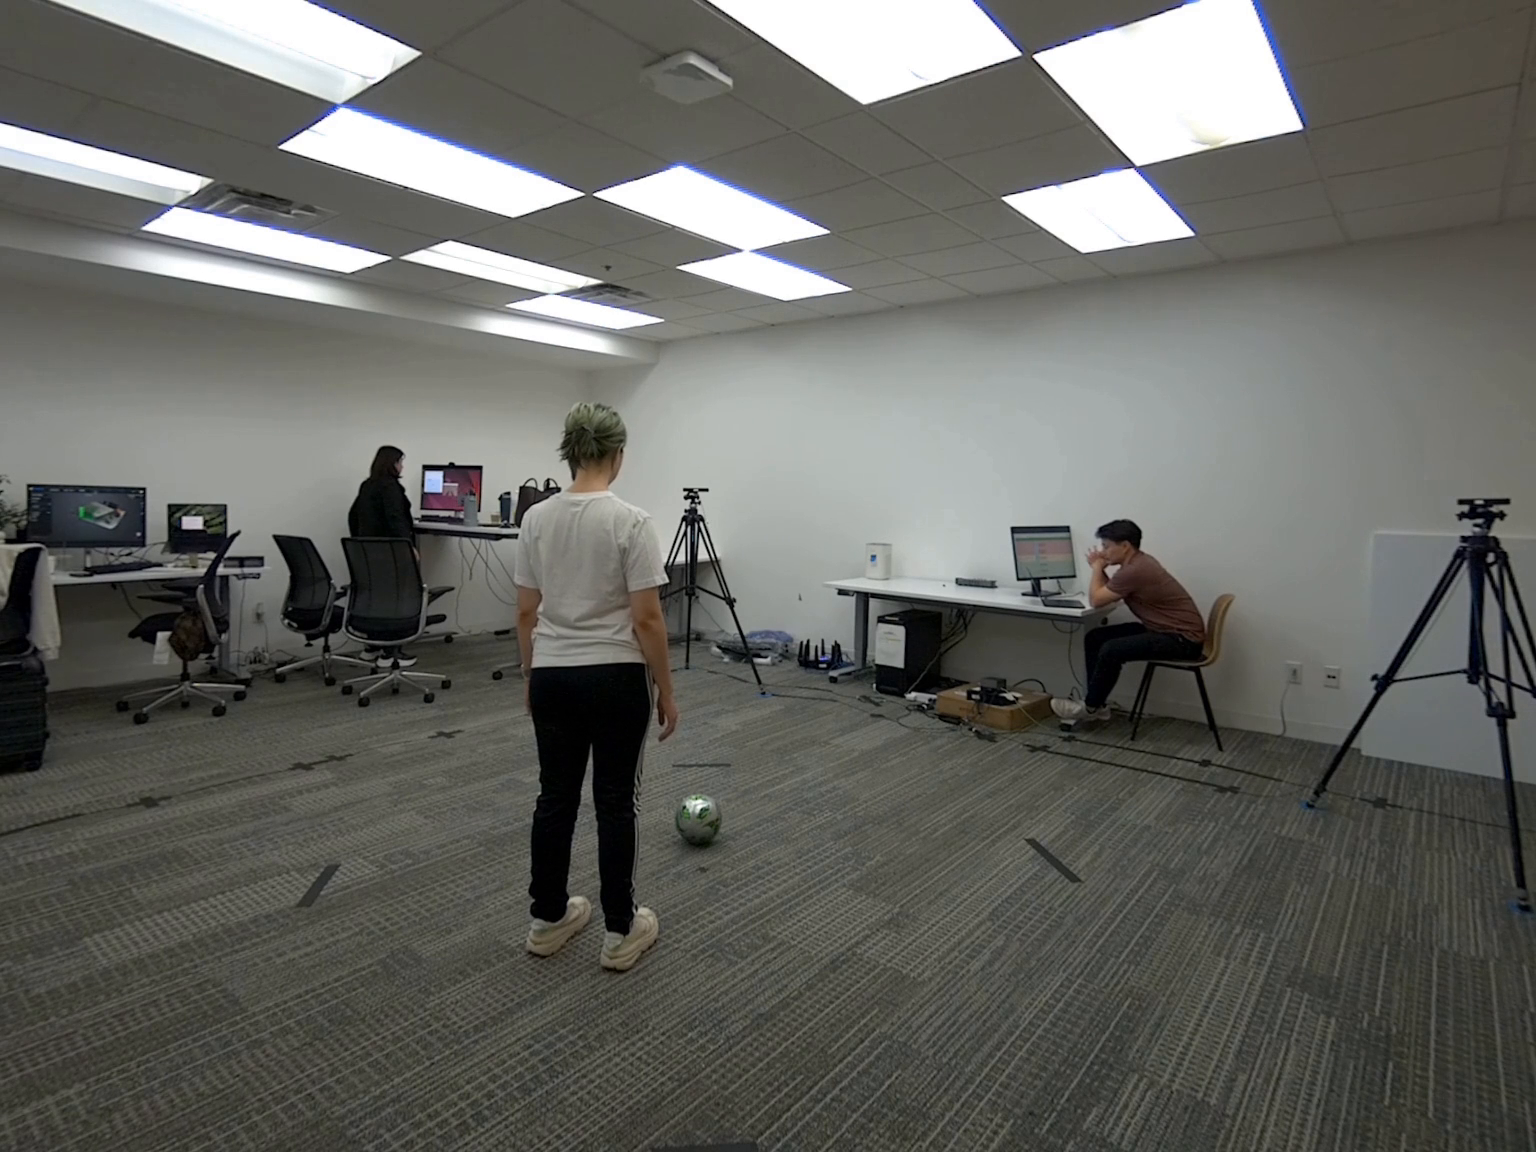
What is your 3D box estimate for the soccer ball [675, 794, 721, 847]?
[{"bbox_3d":[-0.281,0.951,3.346,0.187,0.187,0.188,1,4,-2],"label":"soccer ball"}]
